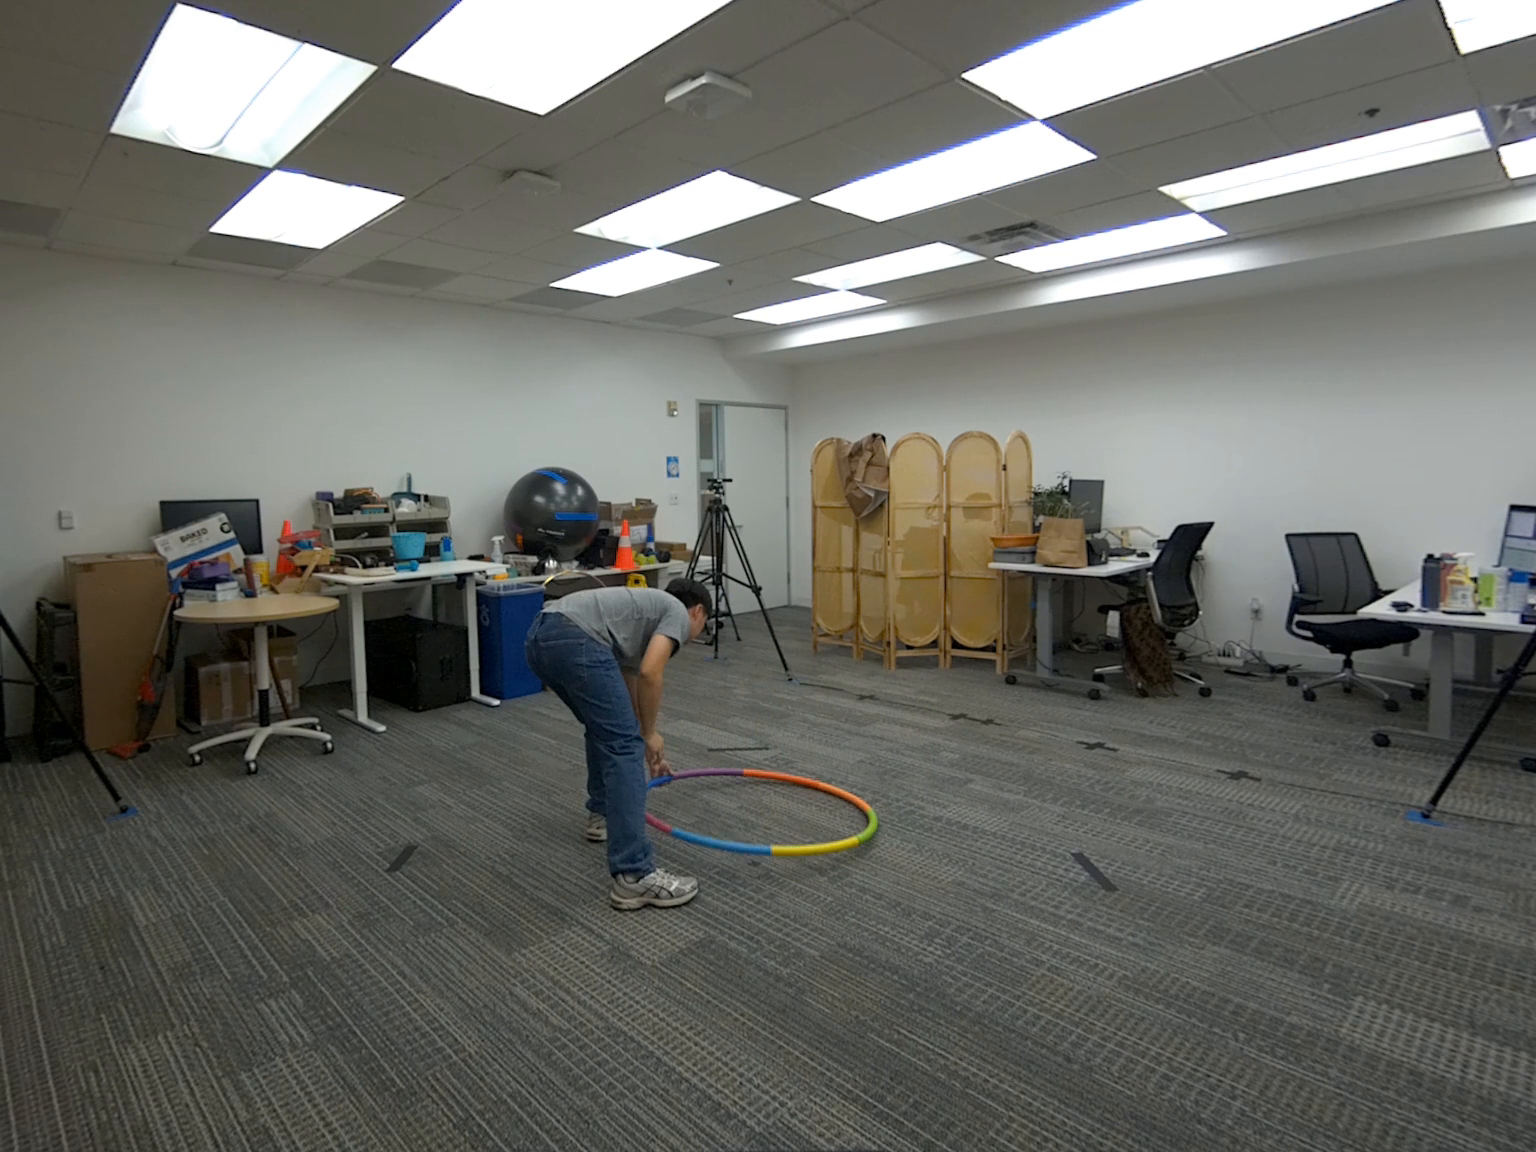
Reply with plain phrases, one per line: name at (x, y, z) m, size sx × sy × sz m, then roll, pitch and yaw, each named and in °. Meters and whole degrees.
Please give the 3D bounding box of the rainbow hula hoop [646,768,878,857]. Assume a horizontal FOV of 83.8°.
rainbow hula hoop at (-0.049, 0.923, 3.457) m, size 0.978 × 0.035 × 0.981 m, roll 4°, pitch 3°, yaw -2°
